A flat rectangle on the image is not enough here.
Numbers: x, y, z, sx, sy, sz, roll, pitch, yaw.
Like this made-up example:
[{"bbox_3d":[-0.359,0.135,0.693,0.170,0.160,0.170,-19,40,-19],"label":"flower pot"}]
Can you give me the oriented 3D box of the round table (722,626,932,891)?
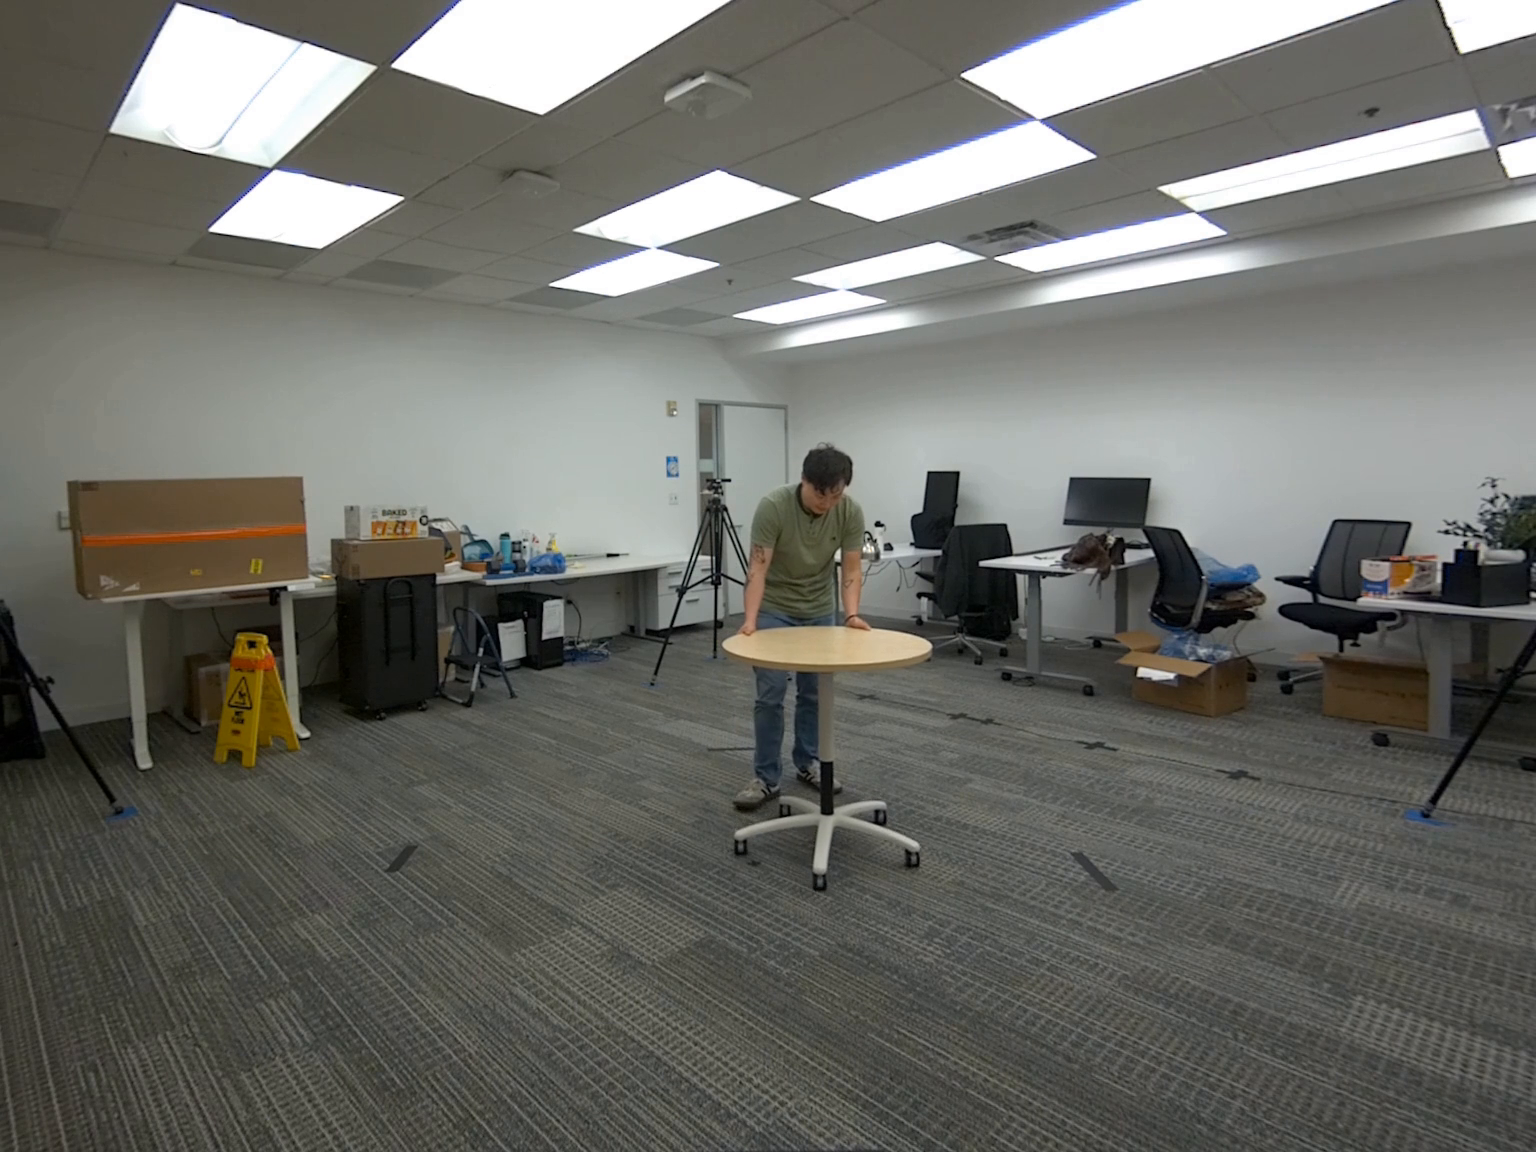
[{"bbox_3d":[0.217,0.647,3.183,0.763,0.791,0.768,-1,5,-2],"label":"round table"}]
